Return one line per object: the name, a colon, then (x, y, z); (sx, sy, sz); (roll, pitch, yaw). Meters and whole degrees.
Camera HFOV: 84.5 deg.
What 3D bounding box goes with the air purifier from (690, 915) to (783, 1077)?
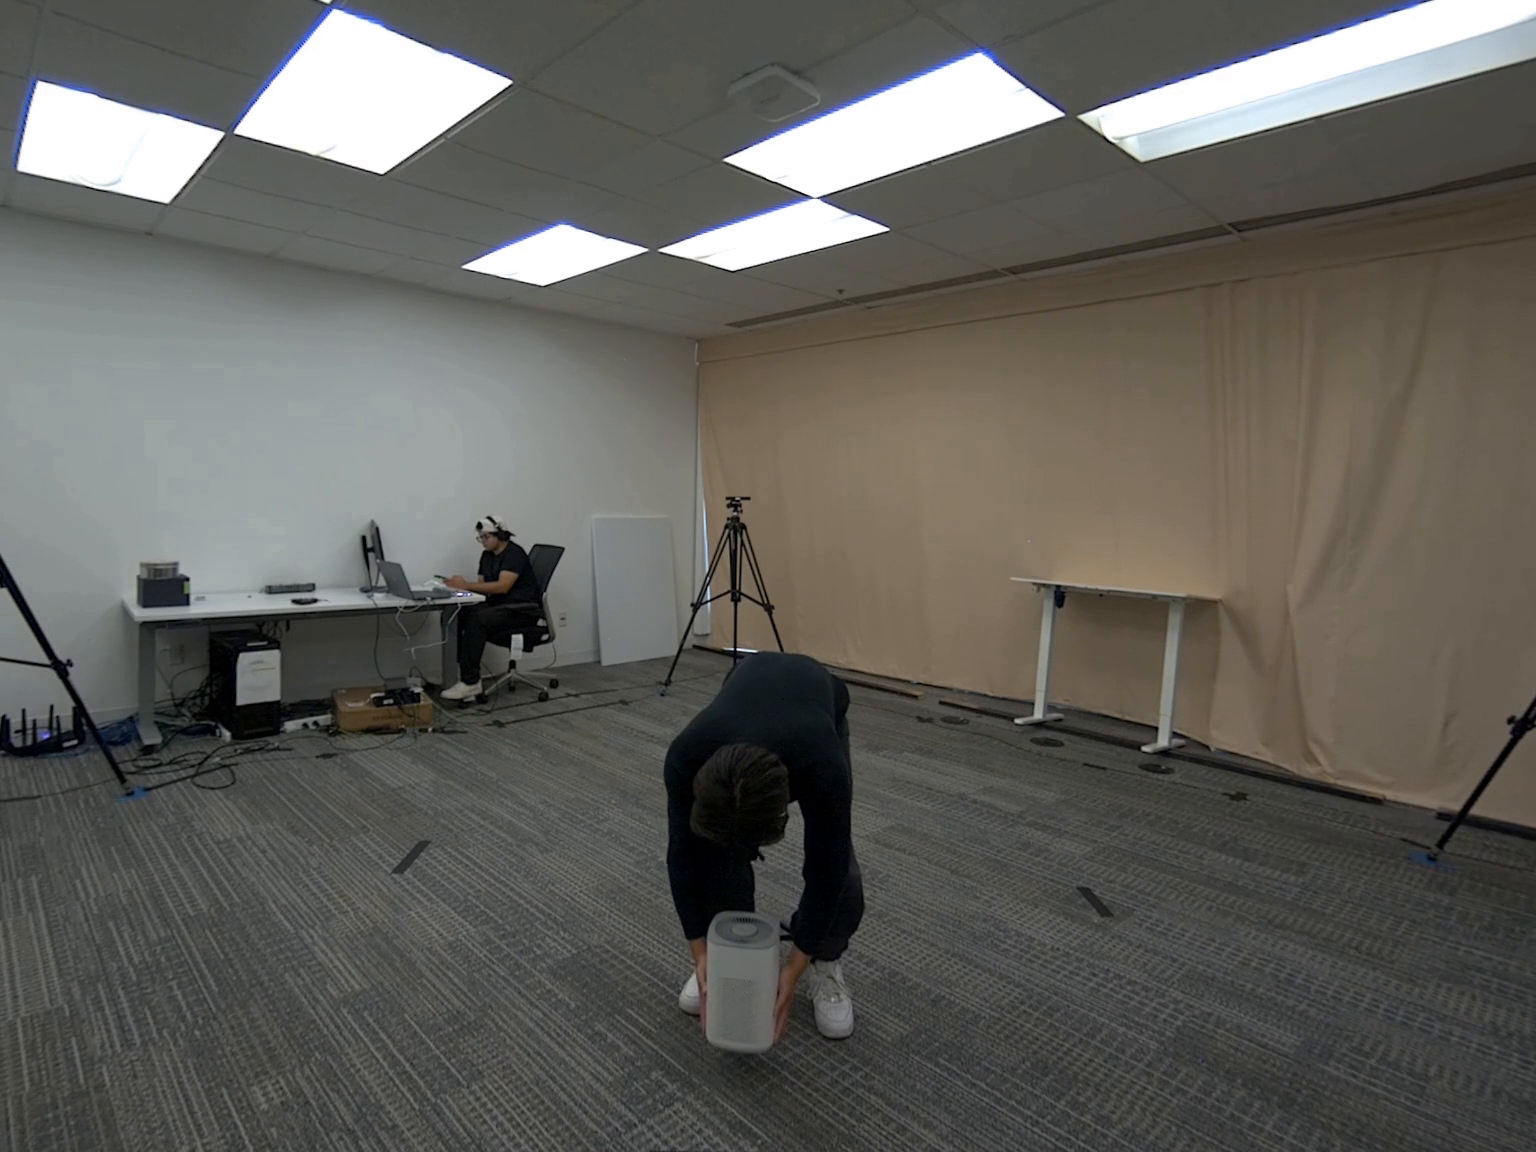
air purifier: (-0.072, 0.994, 2.025); (0.173, 0.265, 0.170); (6, 3, 8)
